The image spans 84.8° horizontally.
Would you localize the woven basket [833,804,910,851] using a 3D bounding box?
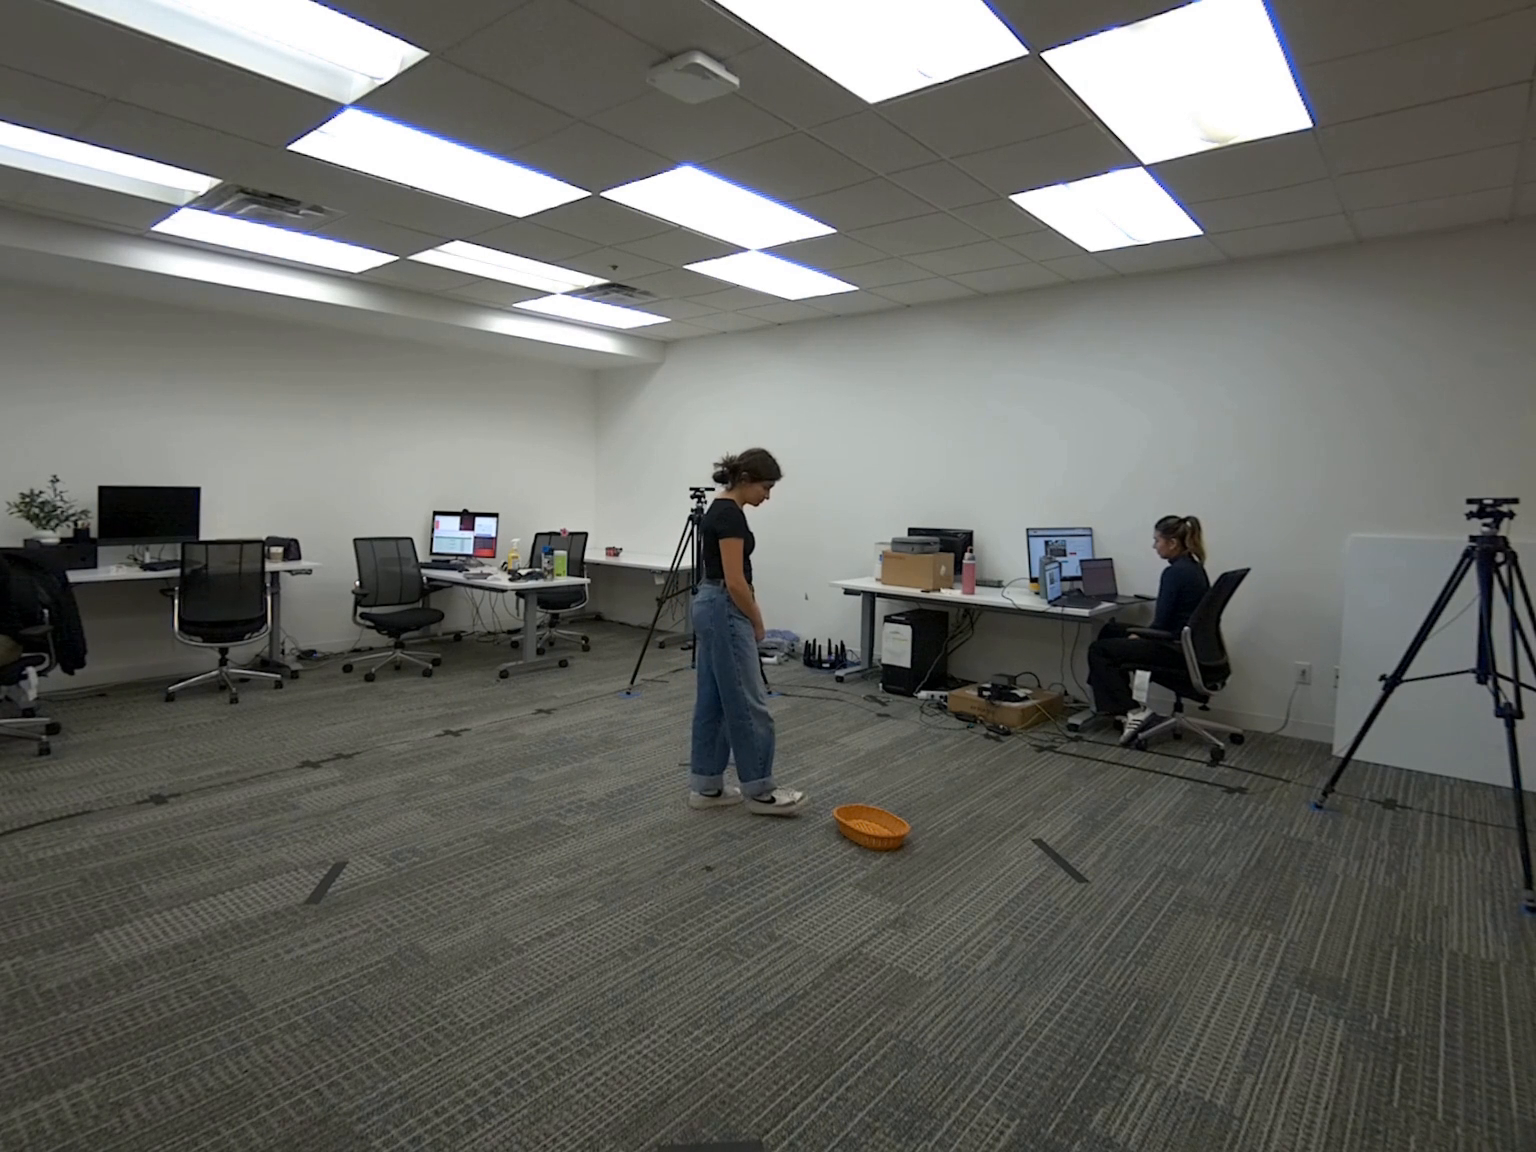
[{"bbox_3d":[0.404,1.007,3.433,0.246,0.073,0.361,0,5,-29],"label":"woven basket"}]
